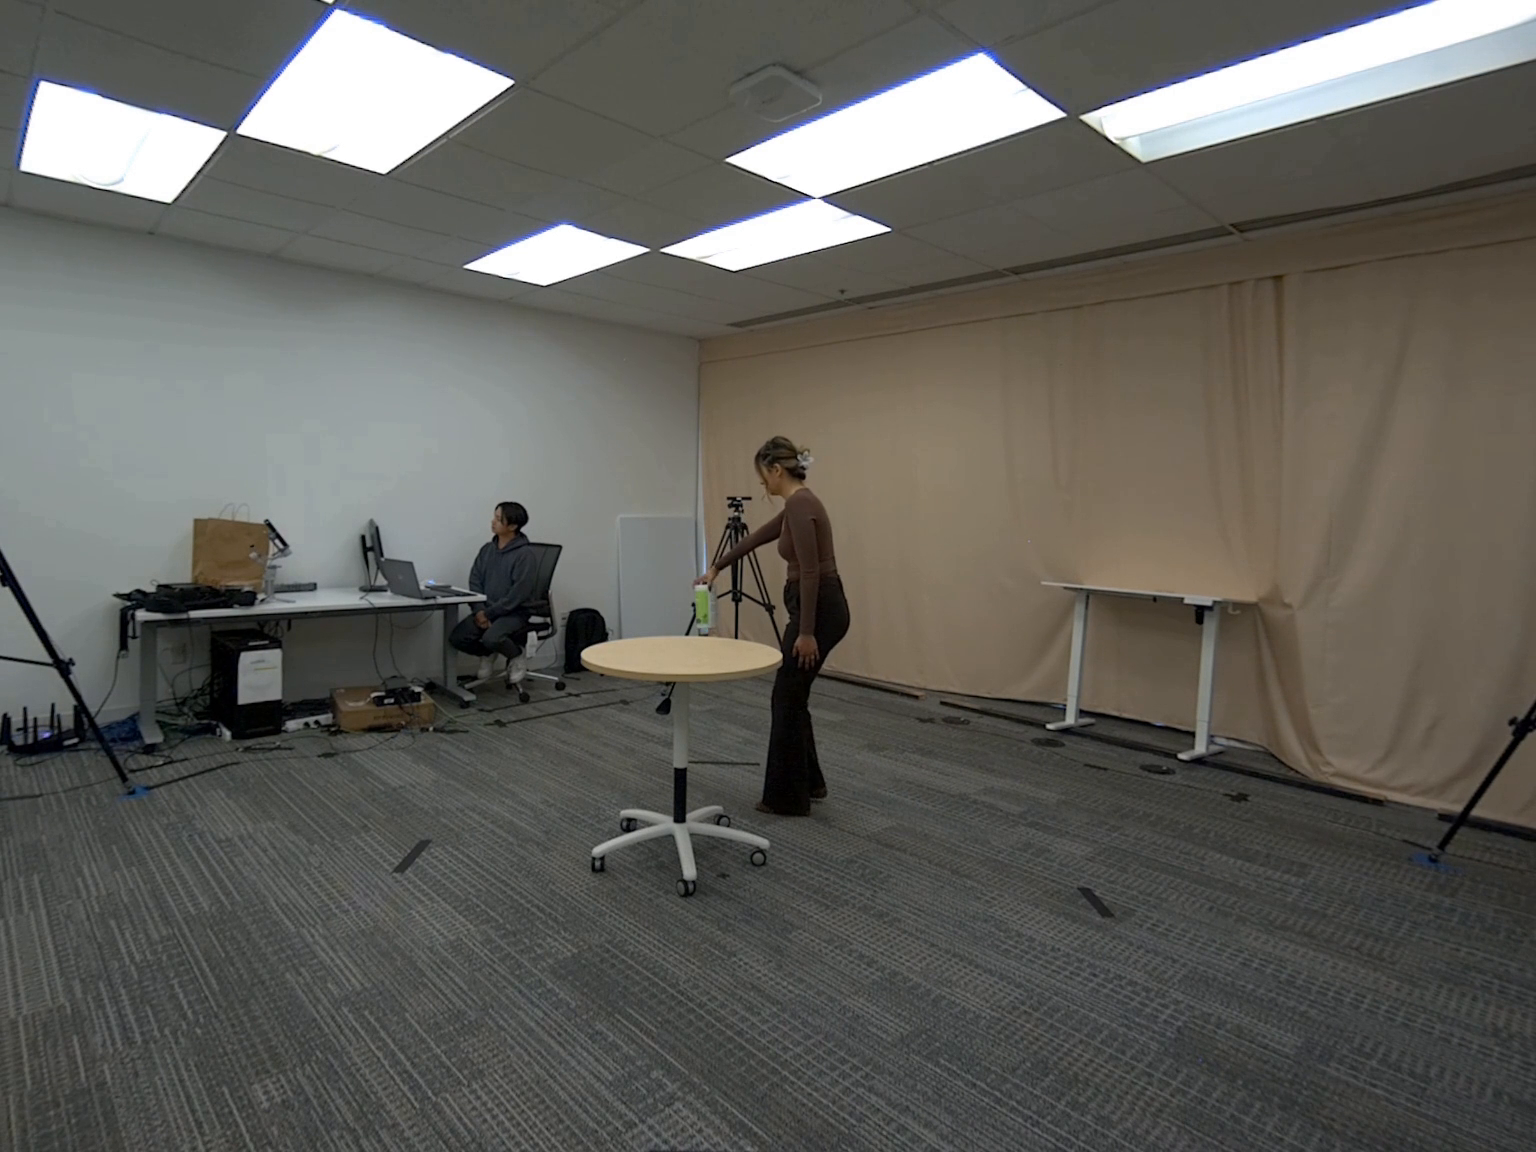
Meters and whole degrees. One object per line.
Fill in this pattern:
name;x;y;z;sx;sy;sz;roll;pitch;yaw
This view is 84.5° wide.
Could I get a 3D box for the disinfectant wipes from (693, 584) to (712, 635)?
disinfectant wipes;-0.320;0.151;4.179;0.118;0.217;0.118;-1;1;-1
